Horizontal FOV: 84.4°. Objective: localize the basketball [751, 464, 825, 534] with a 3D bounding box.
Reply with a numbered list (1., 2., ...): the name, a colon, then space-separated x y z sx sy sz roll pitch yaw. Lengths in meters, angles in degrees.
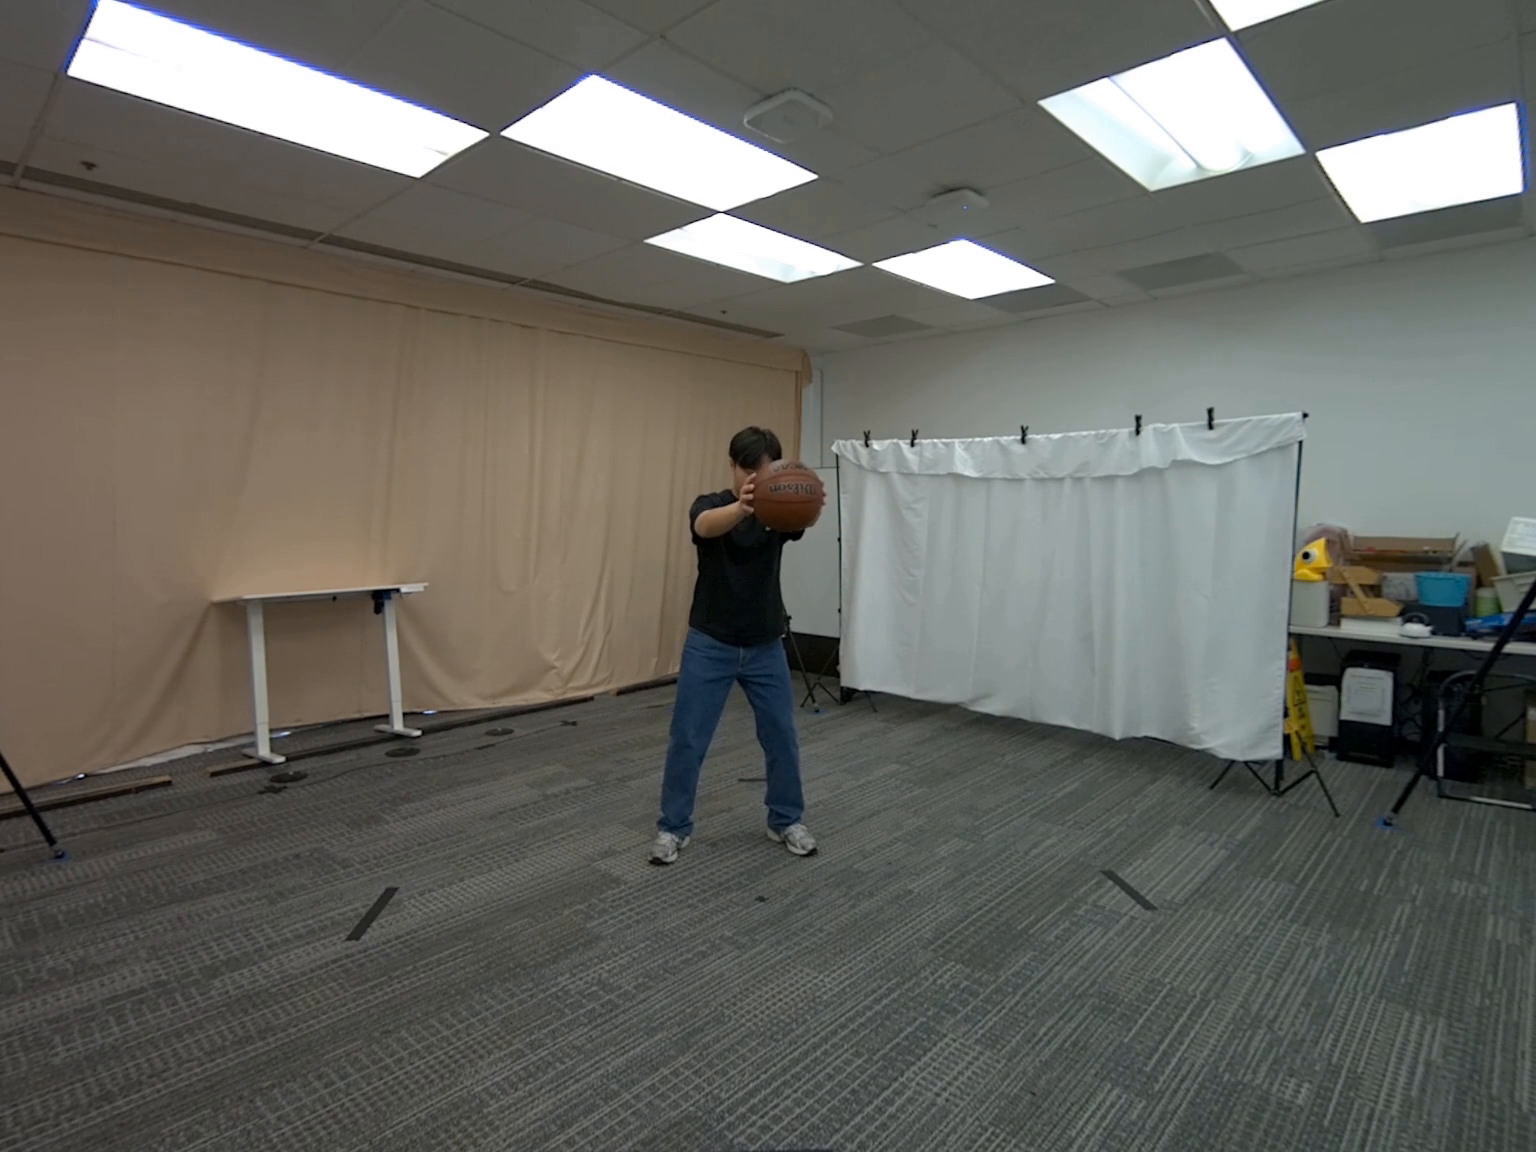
1. basketball: 0.060 -0.256 2.747 0.236 0.235 0.237 0 4 -2
